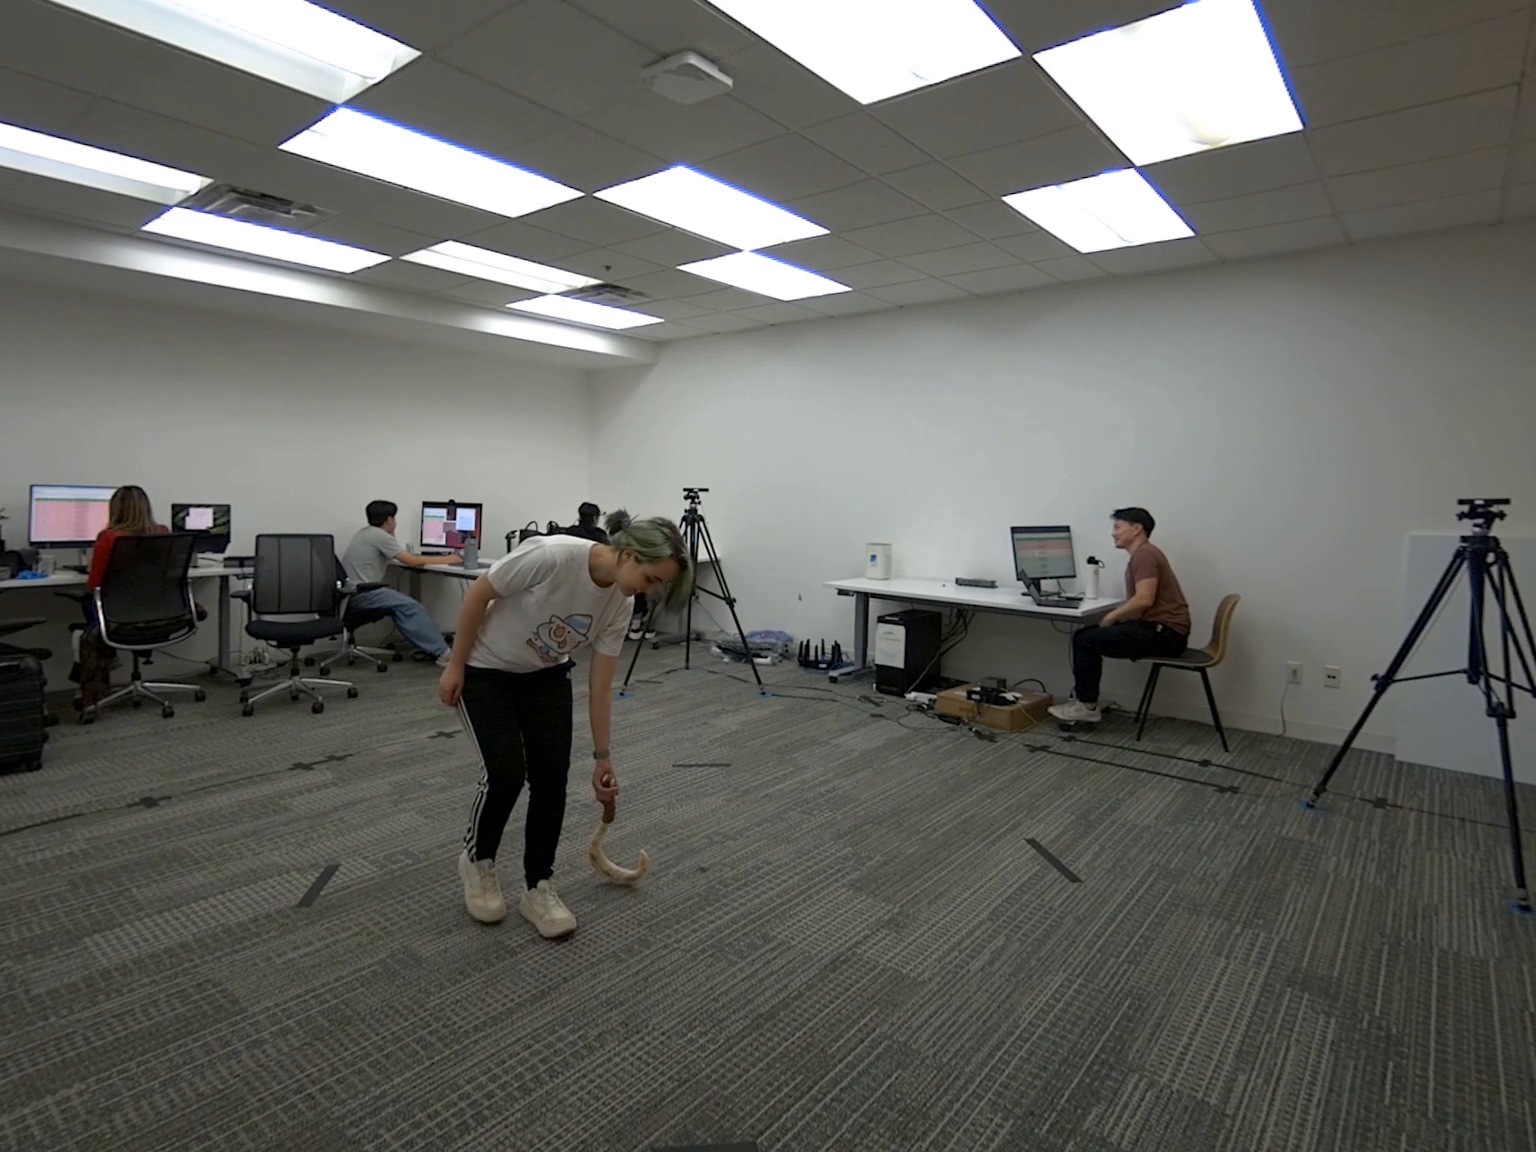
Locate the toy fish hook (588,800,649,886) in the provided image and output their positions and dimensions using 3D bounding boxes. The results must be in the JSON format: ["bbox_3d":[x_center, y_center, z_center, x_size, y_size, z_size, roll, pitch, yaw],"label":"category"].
[{"bbox_3d":[-0.510,0.859,2.857,0.227,0.495,0.049,14,34,8],"label":"toy fish hook"}]
